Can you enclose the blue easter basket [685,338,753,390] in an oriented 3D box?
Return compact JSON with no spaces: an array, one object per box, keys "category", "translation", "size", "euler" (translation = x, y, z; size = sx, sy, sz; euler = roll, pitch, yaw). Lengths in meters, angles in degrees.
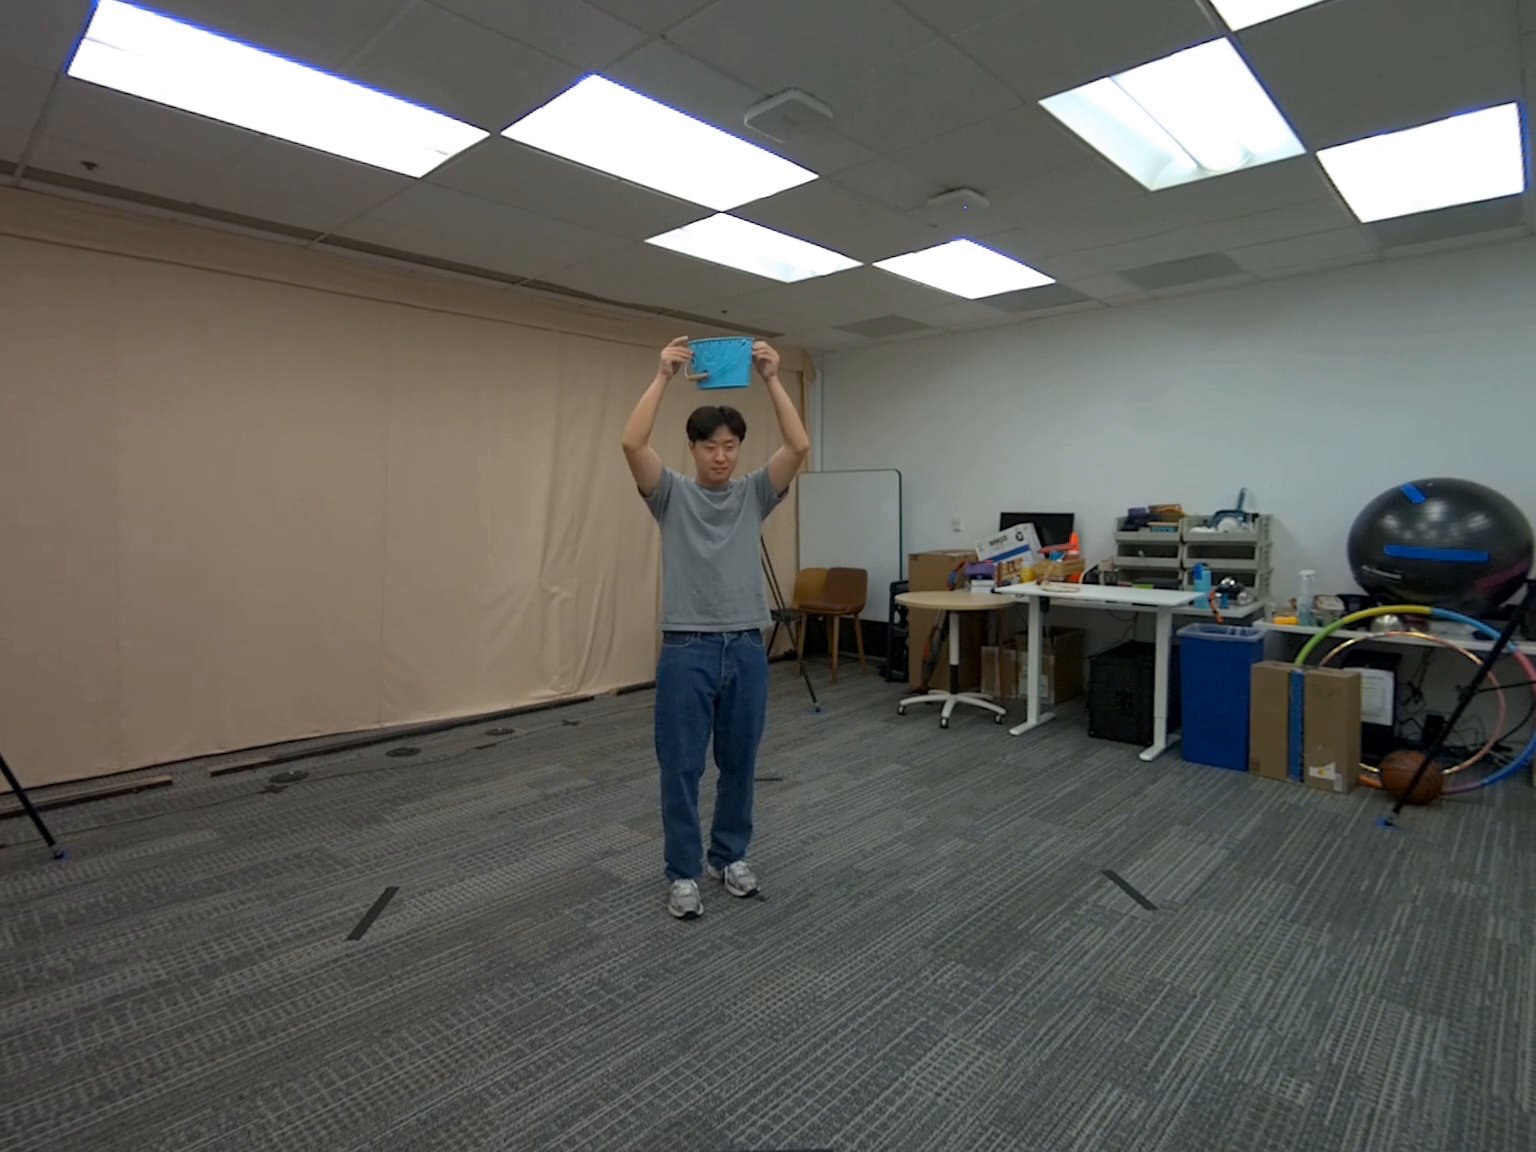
[{"category":"blue easter basket","translation":[-0.162,-0.701,2.820],"size":[0.243,0.155,0.245],"euler":[-3,10,-1]}]
